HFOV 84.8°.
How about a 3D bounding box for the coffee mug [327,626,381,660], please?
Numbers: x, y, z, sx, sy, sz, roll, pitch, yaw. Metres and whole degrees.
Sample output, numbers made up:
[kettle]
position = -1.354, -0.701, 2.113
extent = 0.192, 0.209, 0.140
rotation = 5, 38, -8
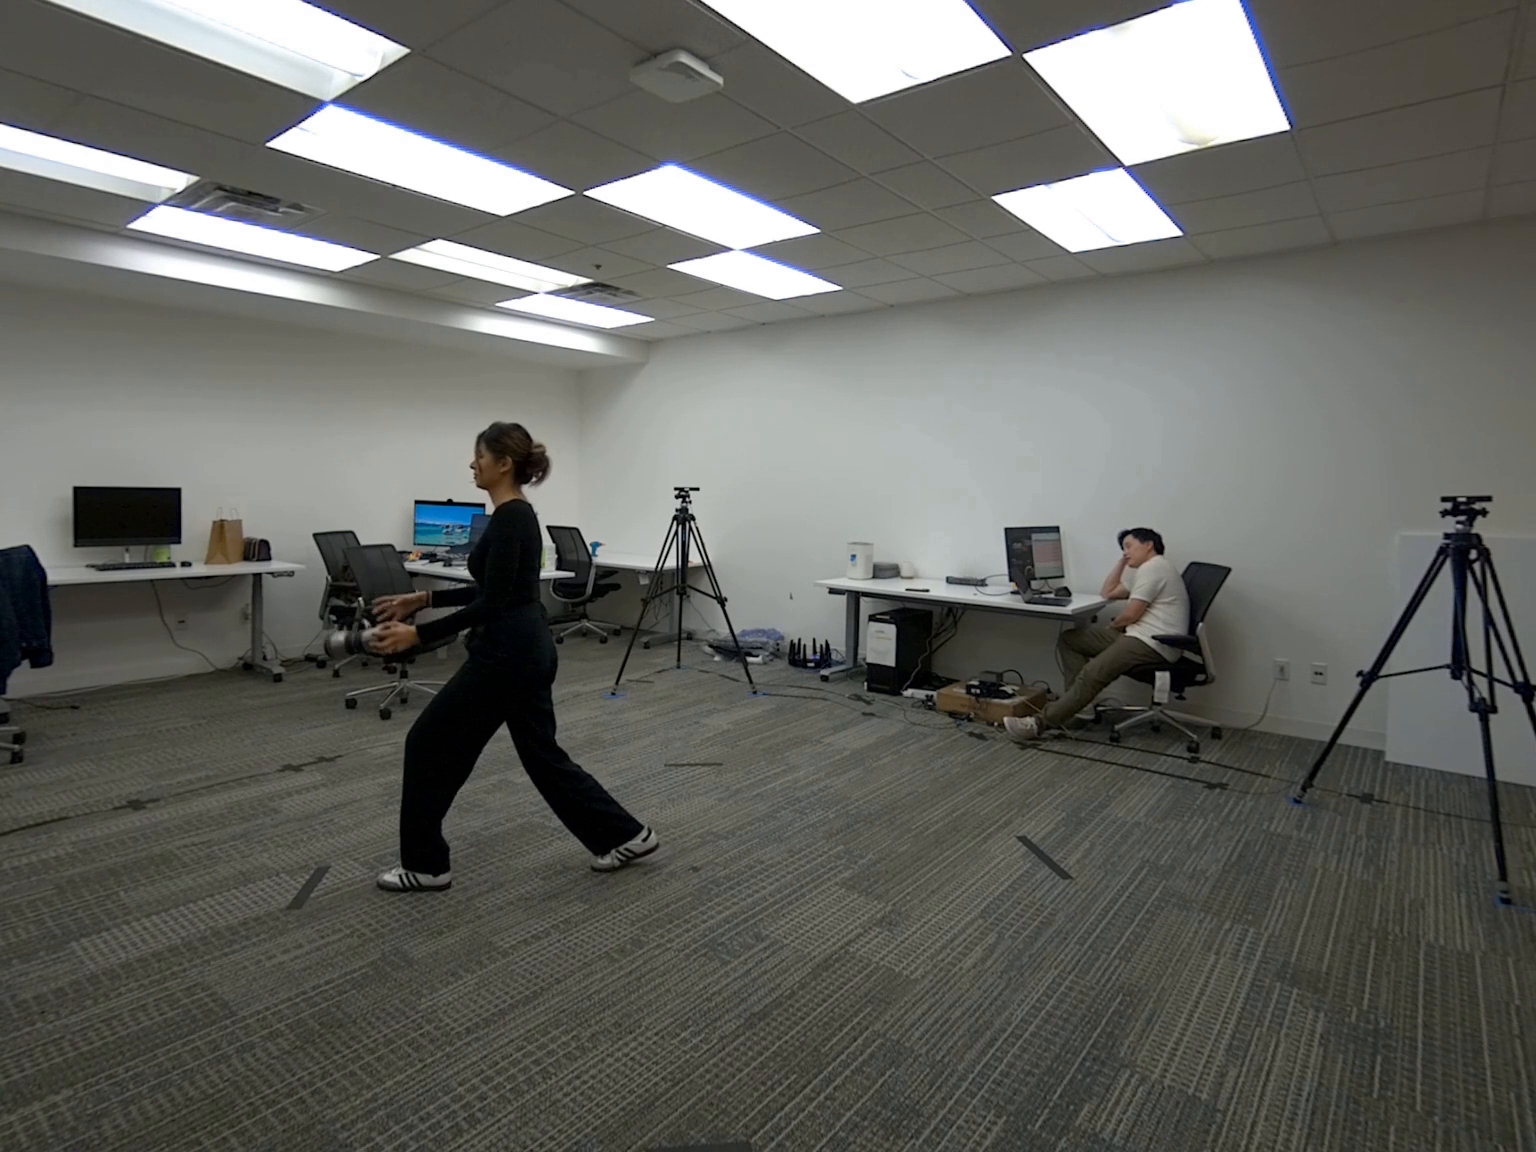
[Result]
[coffee mug]
position = -1.236, 0.199, 2.661
extent = 0.205, 0.119, 0.089
rotation = 3, 29, 10
